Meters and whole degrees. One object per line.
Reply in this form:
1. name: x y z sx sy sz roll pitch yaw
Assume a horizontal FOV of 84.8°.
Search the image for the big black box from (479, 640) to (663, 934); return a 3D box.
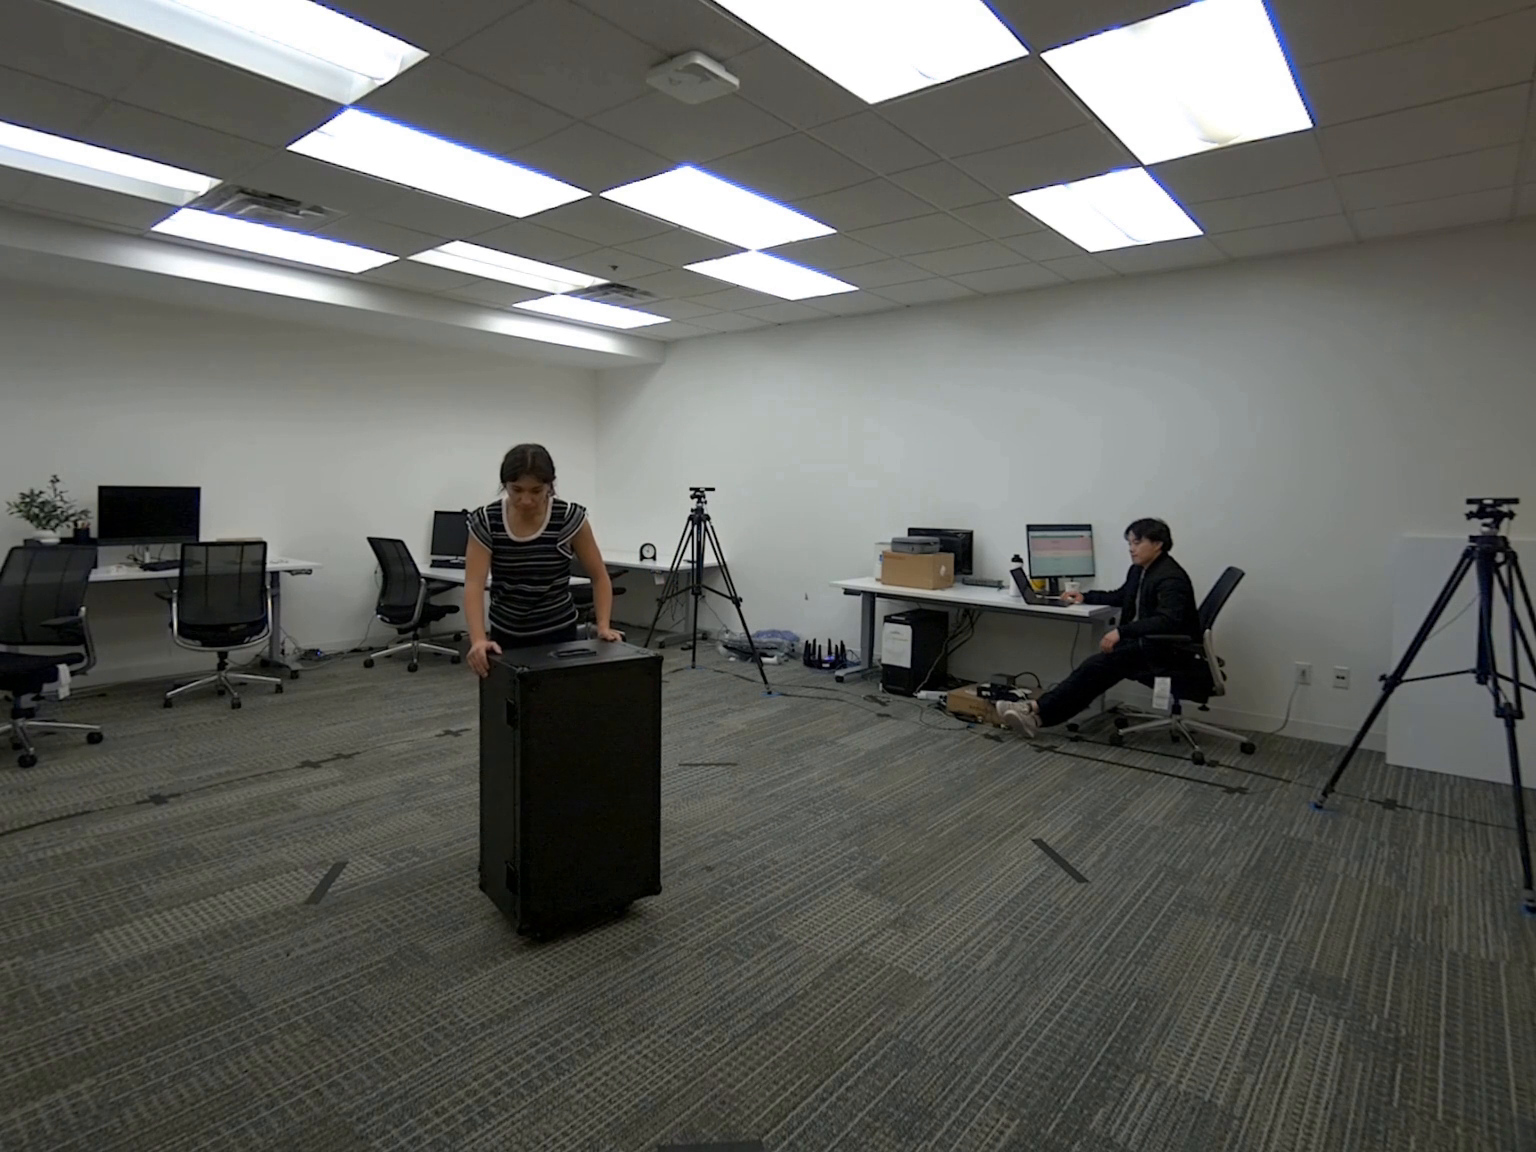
1. big black box: -0.660 0.668 2.752 0.506 0.859 0.409 -2 3 -37
